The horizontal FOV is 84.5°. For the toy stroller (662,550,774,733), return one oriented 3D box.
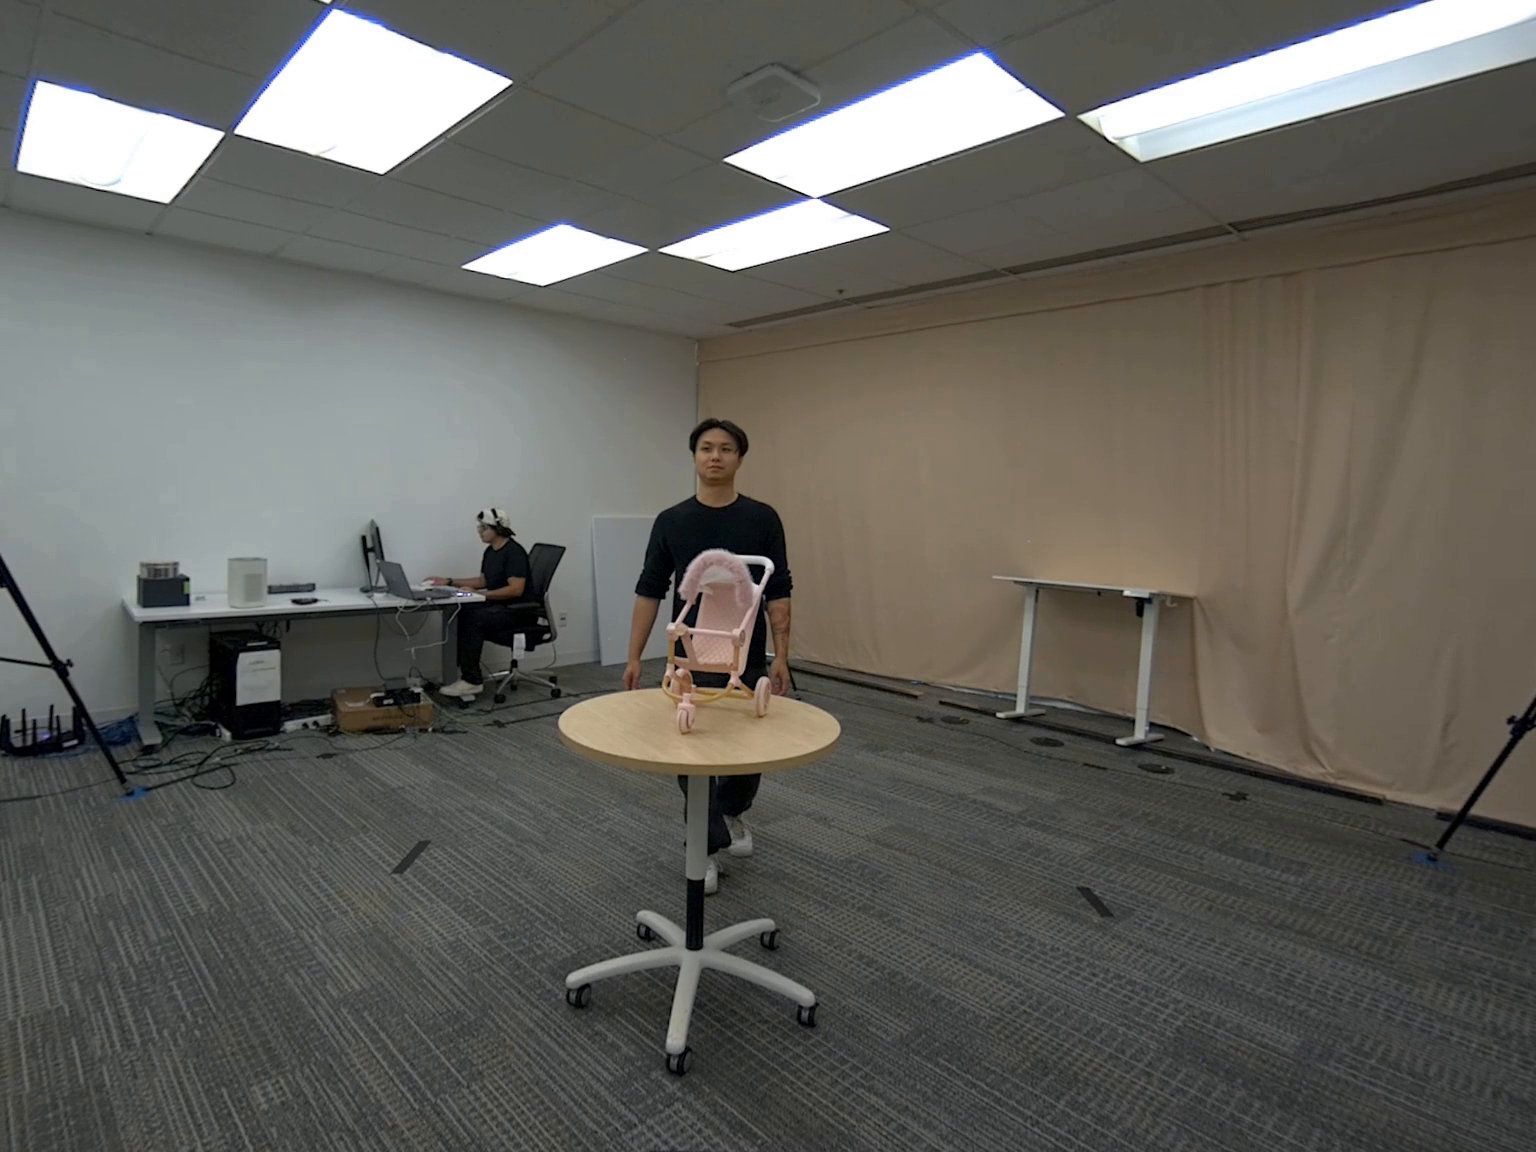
[{"bbox_3d":[-0.161,0.173,2.333,0.286,0.538,0.333,4,-11,23],"label":"toy stroller"}]
